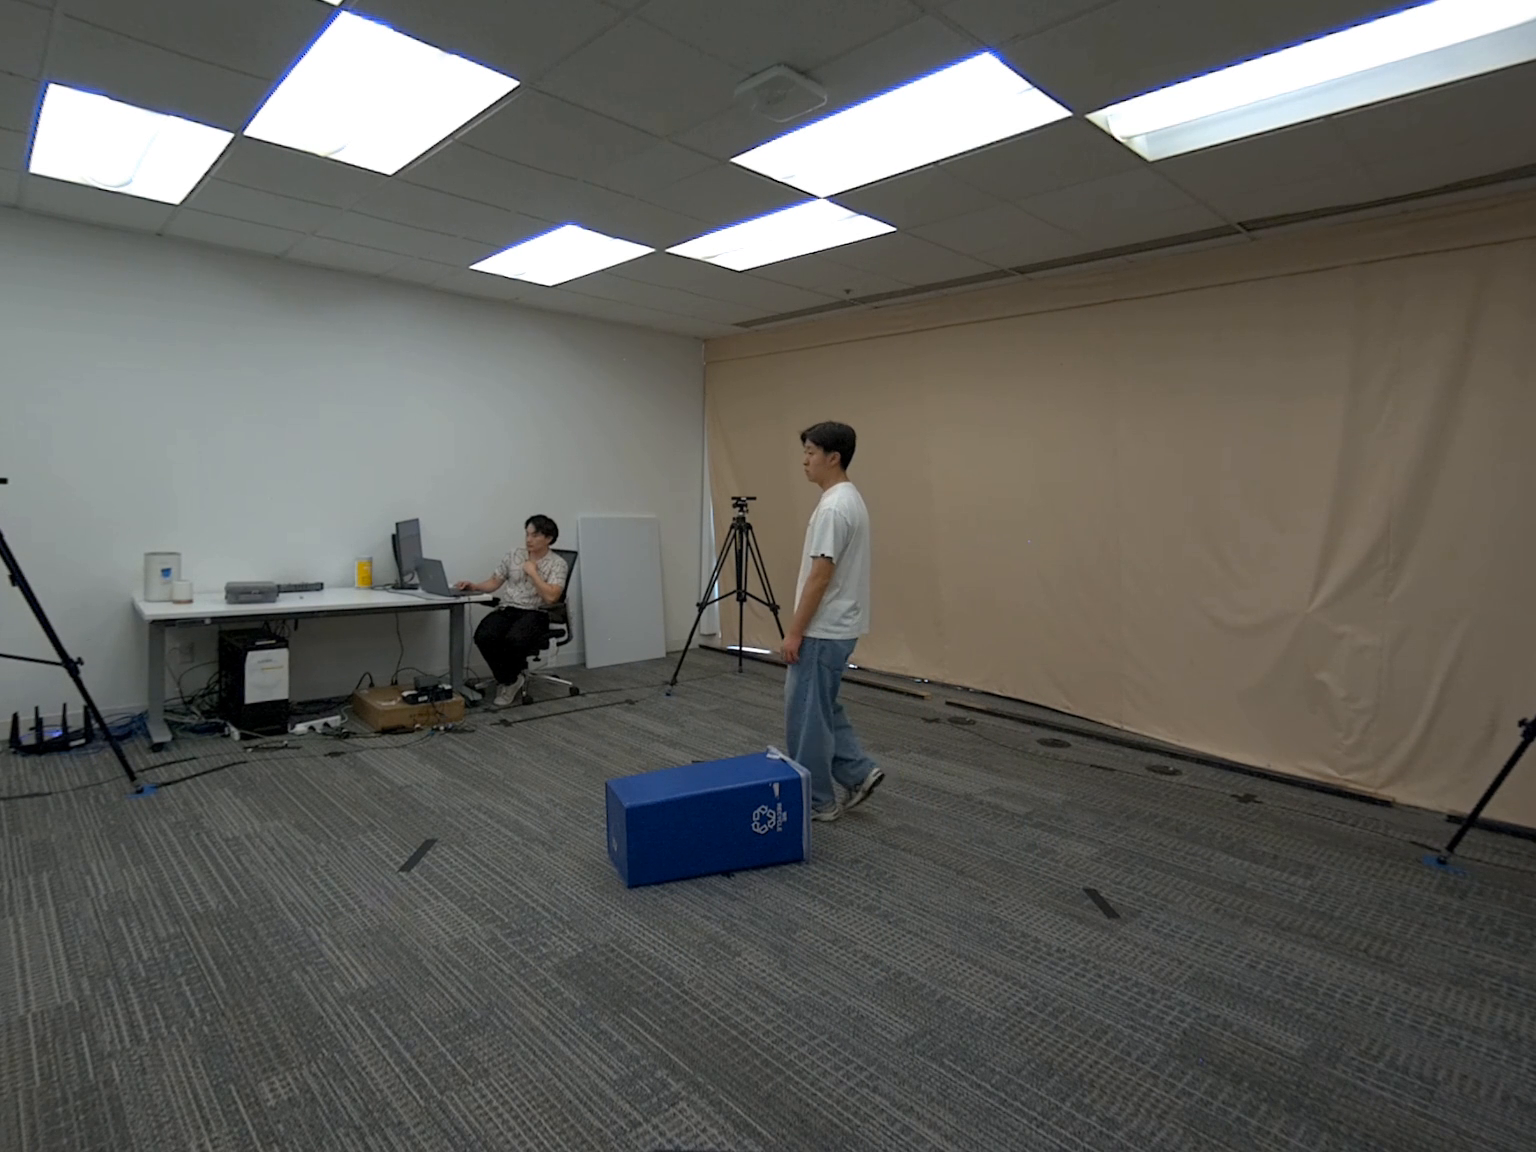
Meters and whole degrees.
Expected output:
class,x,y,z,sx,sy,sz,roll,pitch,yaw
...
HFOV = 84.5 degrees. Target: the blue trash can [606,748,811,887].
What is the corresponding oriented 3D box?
class,x,y,z,sx,sy,sz,roll,pitch,yaw
blue trash can,-0.241,0.929,3.226,0.702,0.377,0.381,-3,6,-23
